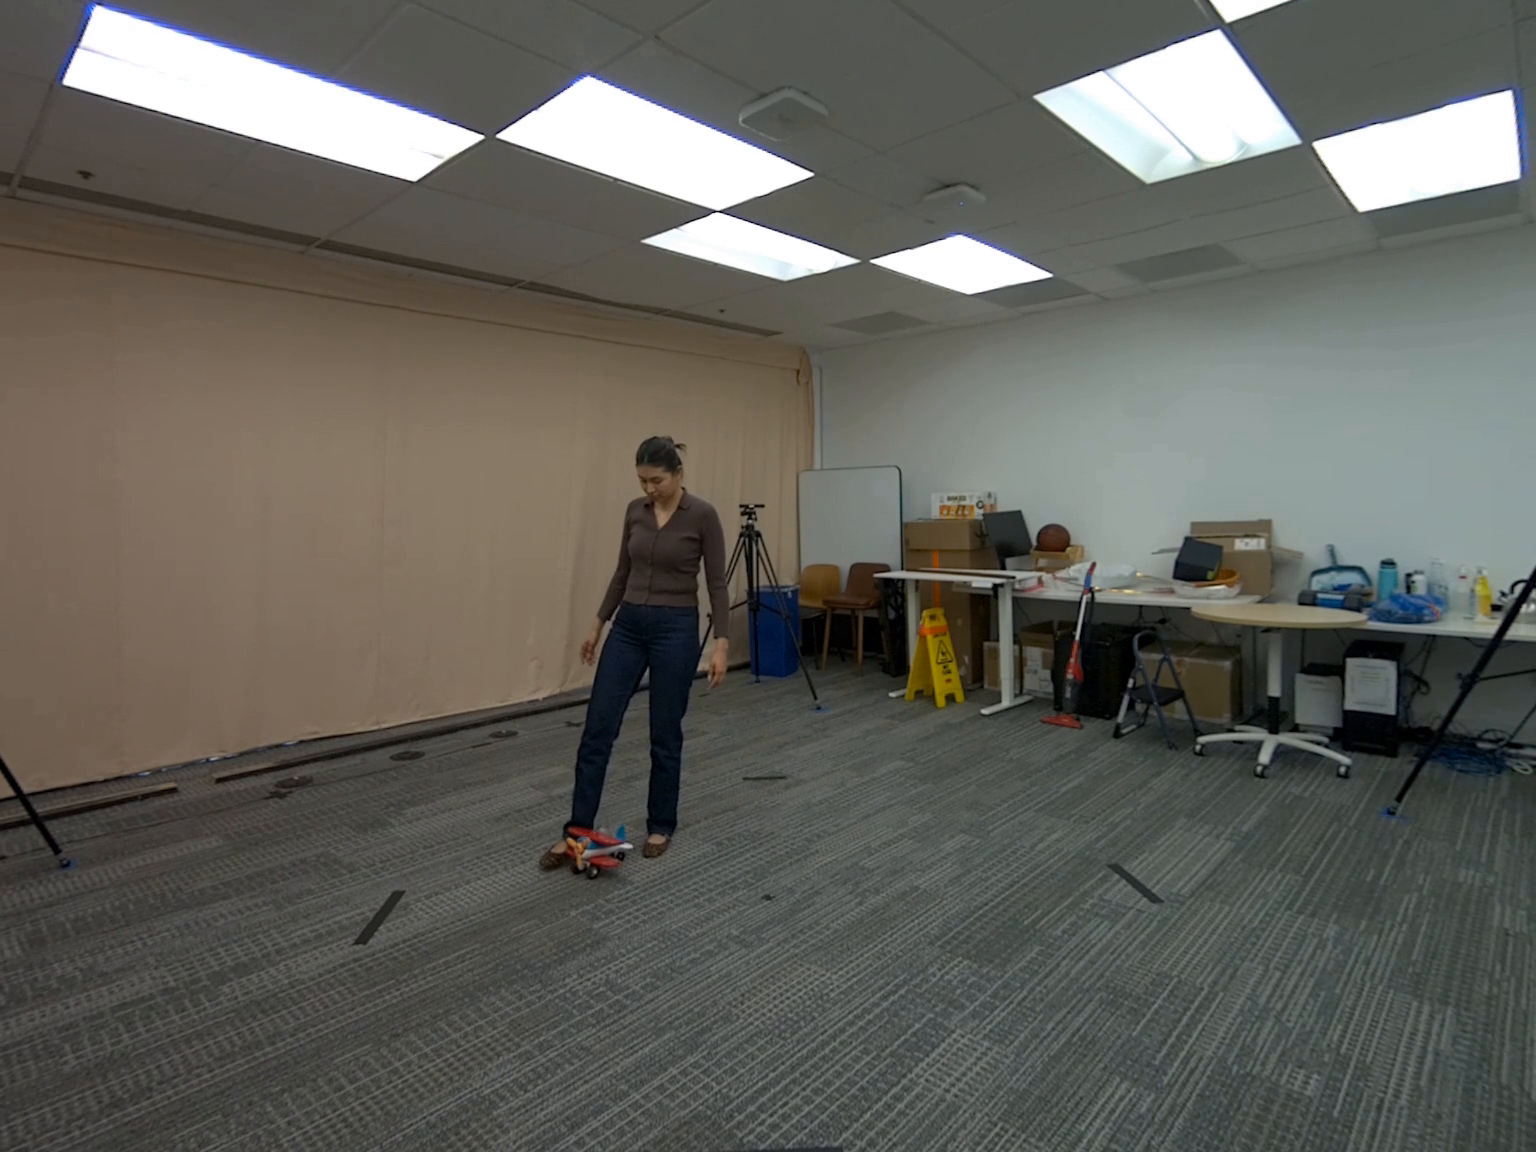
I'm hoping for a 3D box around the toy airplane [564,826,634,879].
[{"bbox_3d":[-0.665,1.053,3.266,0.253,0.156,0.257,-1,5,8],"label":"toy airplane"}]
